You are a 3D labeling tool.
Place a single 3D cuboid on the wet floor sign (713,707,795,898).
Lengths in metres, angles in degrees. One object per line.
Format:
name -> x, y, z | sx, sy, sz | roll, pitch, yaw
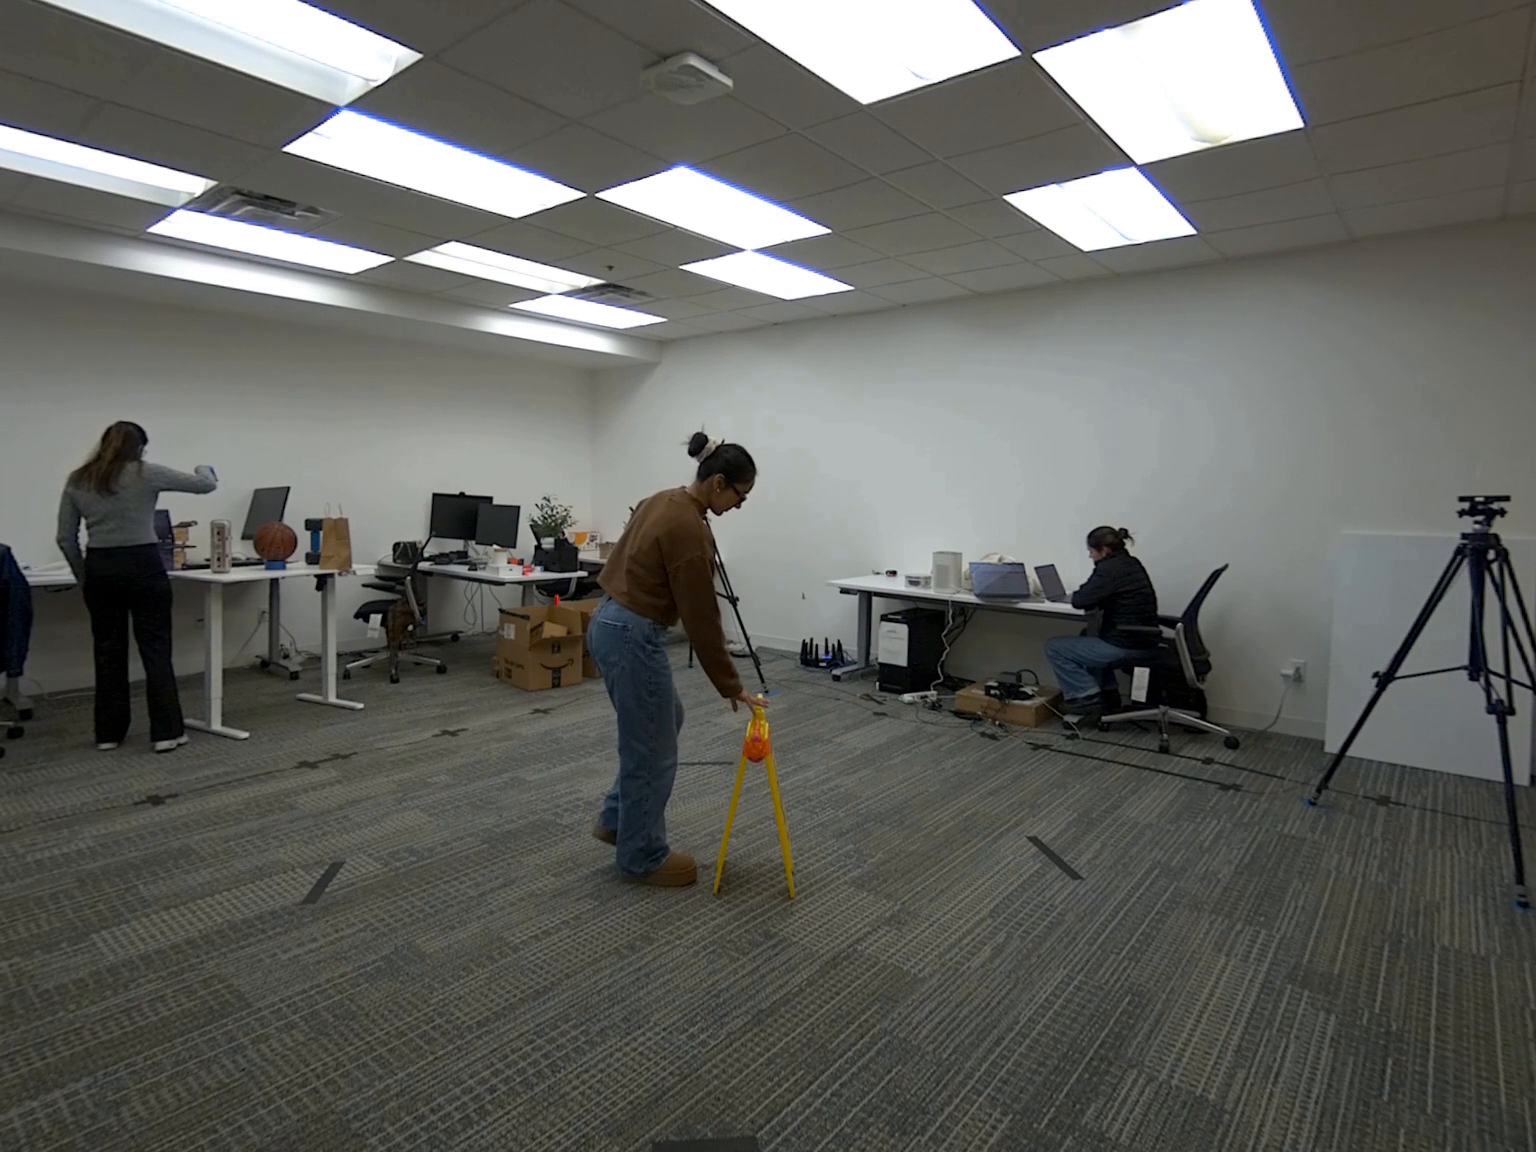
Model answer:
wet floor sign -> -0.048, 0.765, 3.017 | 0.291, 0.644, 0.282 | 2, 3, 3
